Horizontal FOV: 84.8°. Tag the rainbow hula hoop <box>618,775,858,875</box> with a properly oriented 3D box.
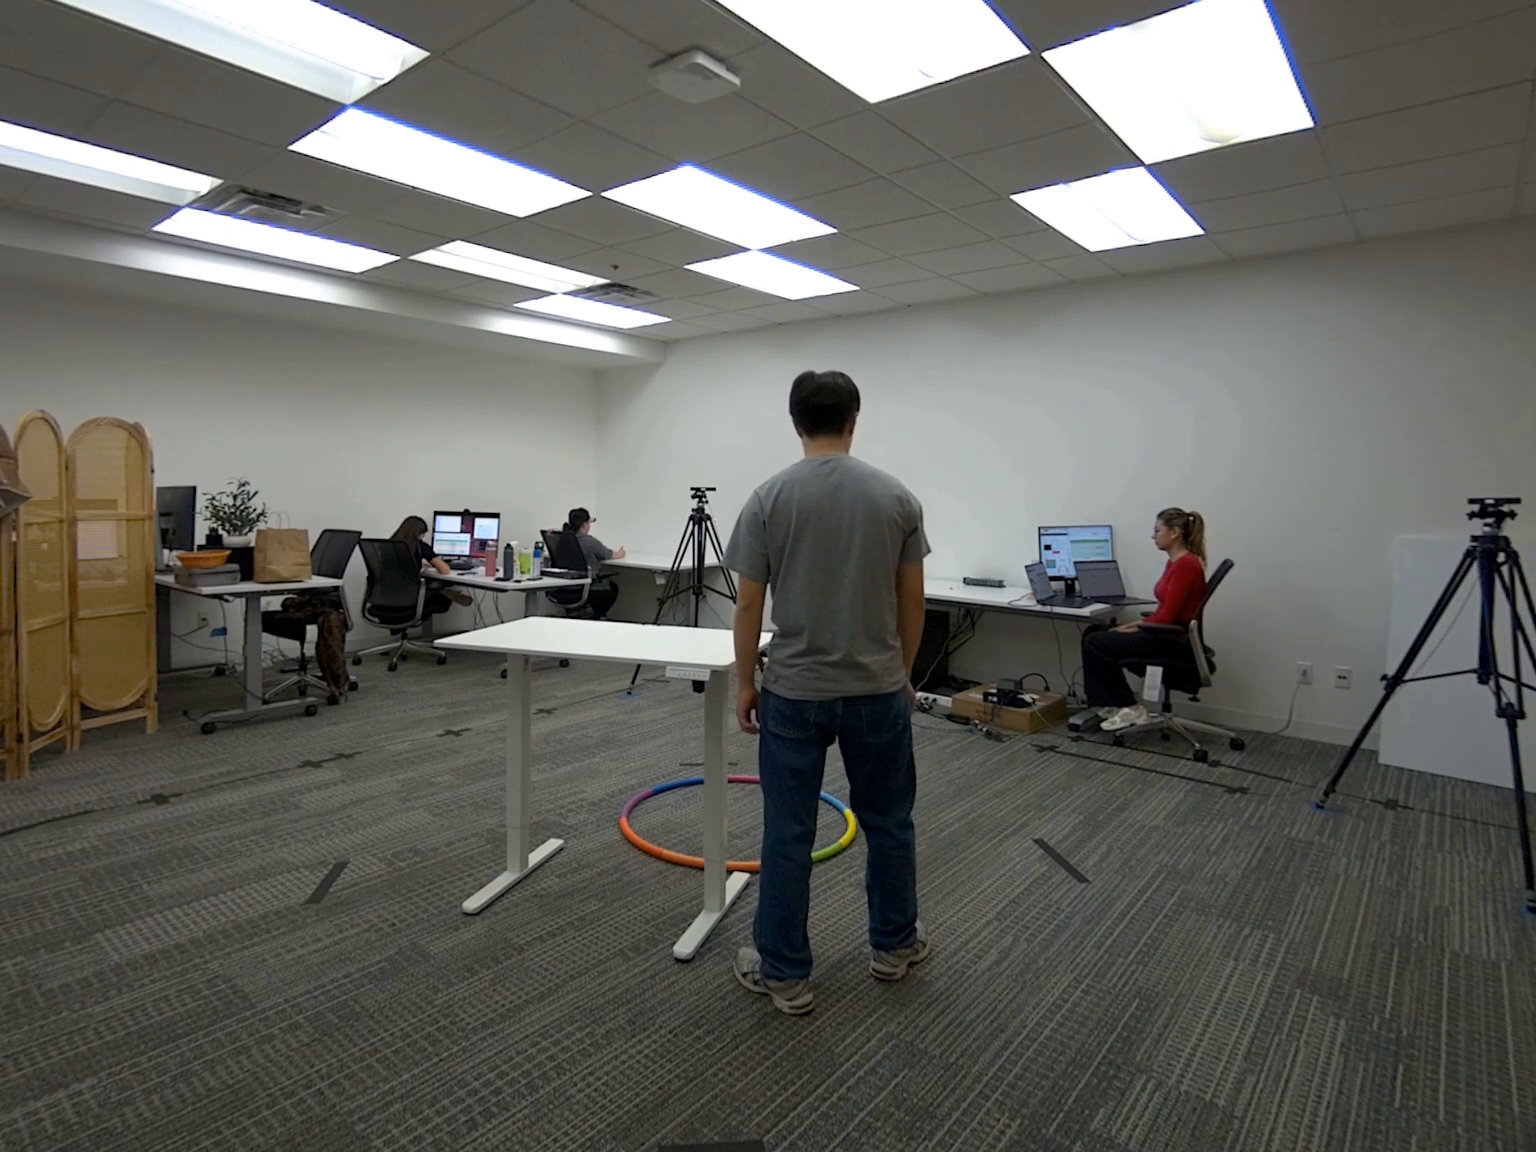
[{"bbox_3d":[-0.136,0.995,3.551,0.978,0.035,0.984,1,6,-2],"label":"rainbow hula hoop"}]
